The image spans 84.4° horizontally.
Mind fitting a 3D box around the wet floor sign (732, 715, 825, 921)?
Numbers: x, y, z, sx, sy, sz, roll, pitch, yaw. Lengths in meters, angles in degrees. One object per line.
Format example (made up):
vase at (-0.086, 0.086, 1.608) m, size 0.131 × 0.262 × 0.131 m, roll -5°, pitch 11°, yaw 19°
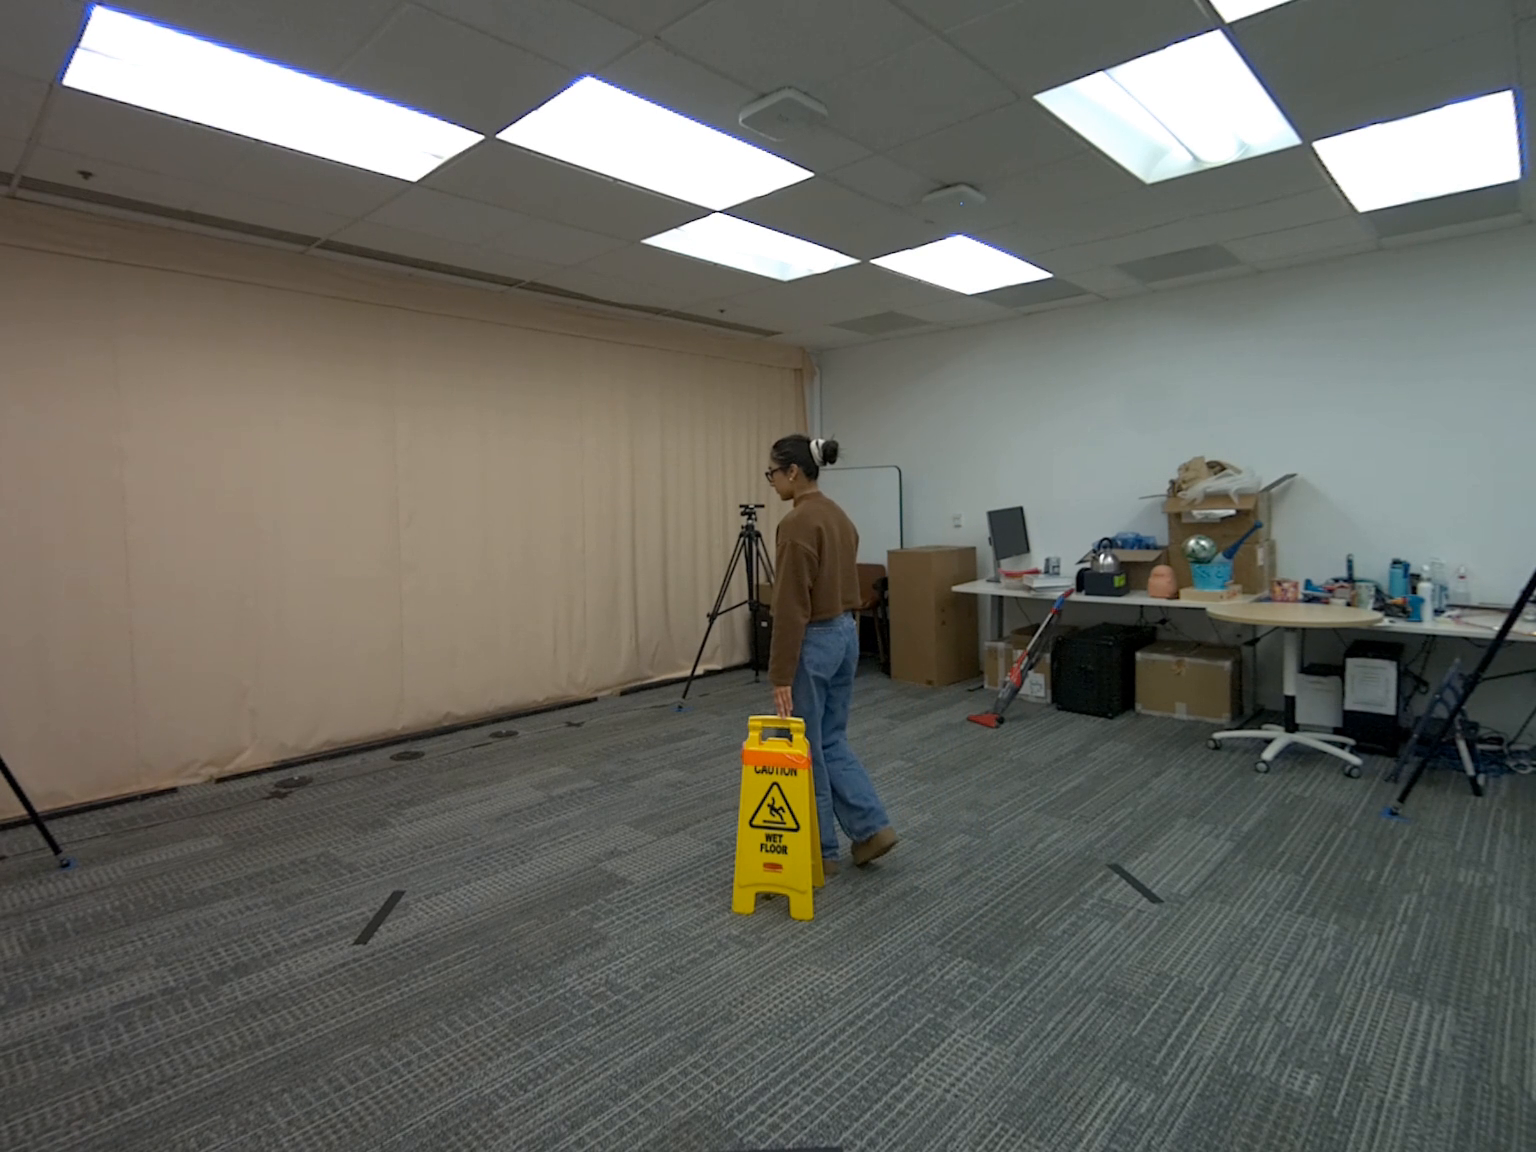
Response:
wet floor sign at (0.038, 0.818, 2.962) m, size 0.287 × 0.645 × 0.286 m, roll 0°, pitch 3°, yaw 13°
